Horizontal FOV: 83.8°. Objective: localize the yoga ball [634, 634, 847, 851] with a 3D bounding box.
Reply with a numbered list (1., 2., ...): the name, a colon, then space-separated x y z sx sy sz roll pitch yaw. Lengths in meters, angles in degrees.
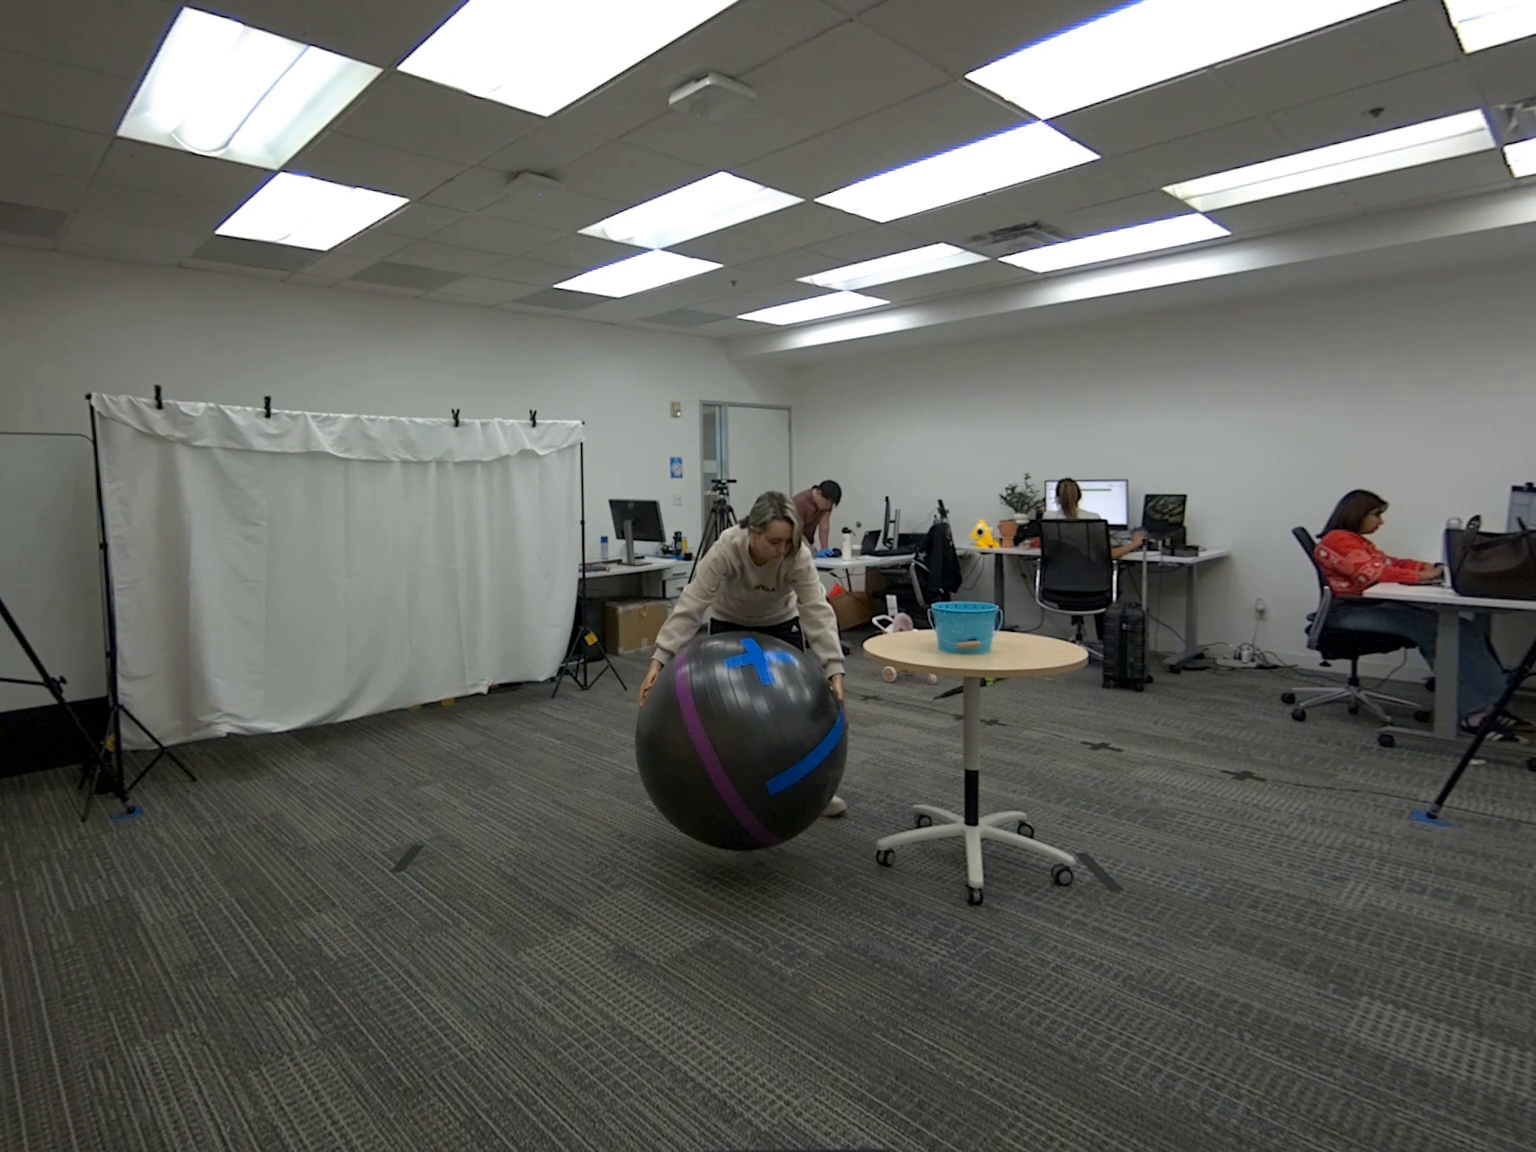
1. yoga ball: -0.106 0.589 3.054 0.757 0.755 0.762 -1 5 -2
